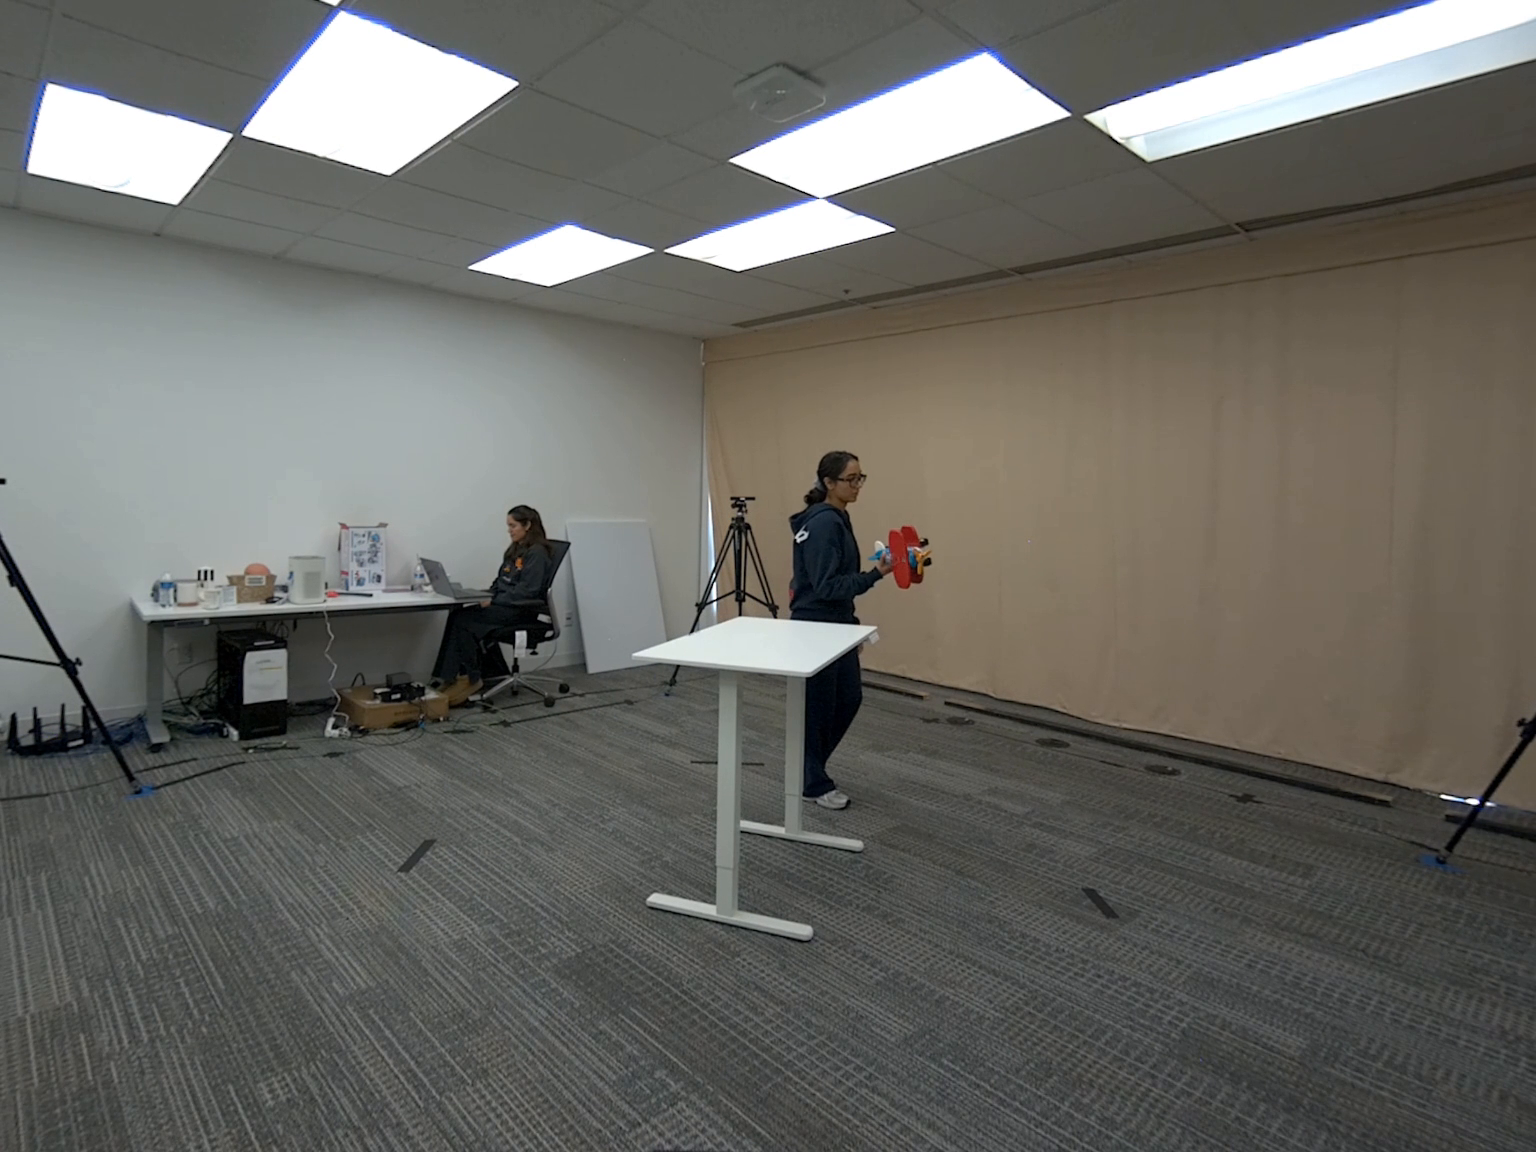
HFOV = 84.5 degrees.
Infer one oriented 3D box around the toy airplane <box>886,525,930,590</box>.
[{"bbox_3d":[0.555,-0.068,3.583,0.260,0.253,0.154,-37,-9,41],"label":"toy airplane"}]
